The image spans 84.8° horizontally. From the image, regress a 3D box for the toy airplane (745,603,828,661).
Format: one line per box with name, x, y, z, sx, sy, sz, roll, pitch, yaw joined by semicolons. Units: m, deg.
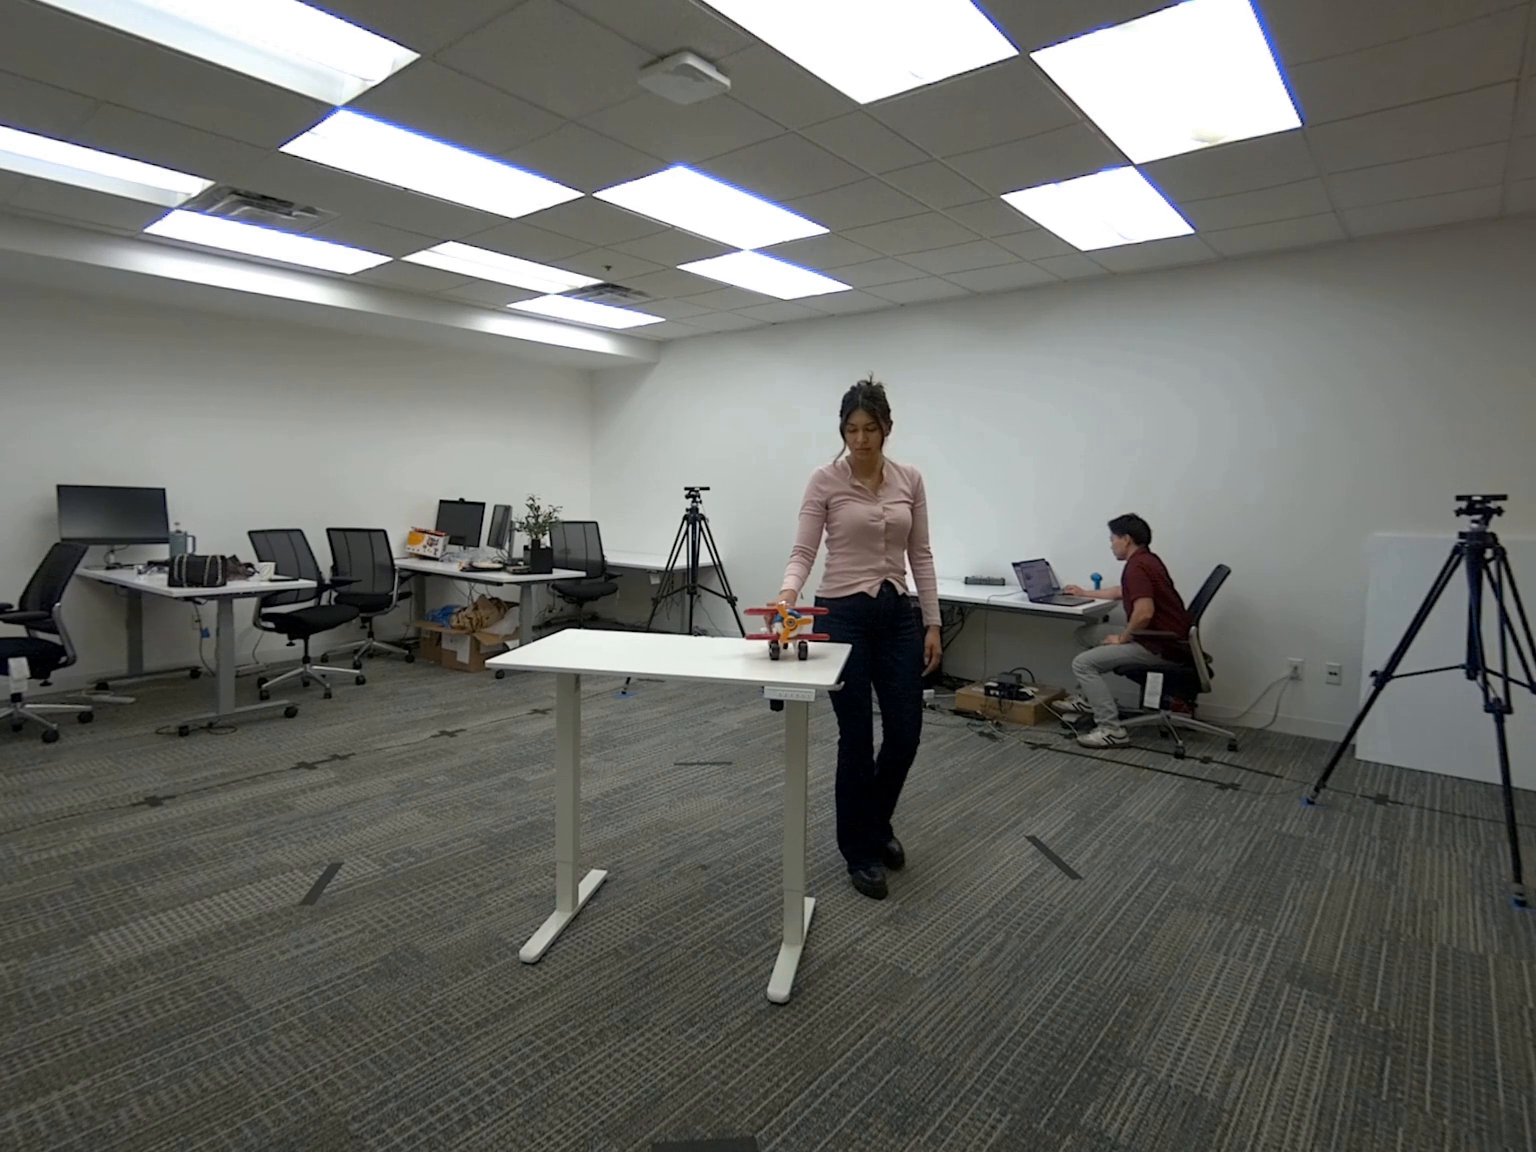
toy airplane;0.026;0.165;2.603;0.244;0.156;0.267;-2;6;-32
